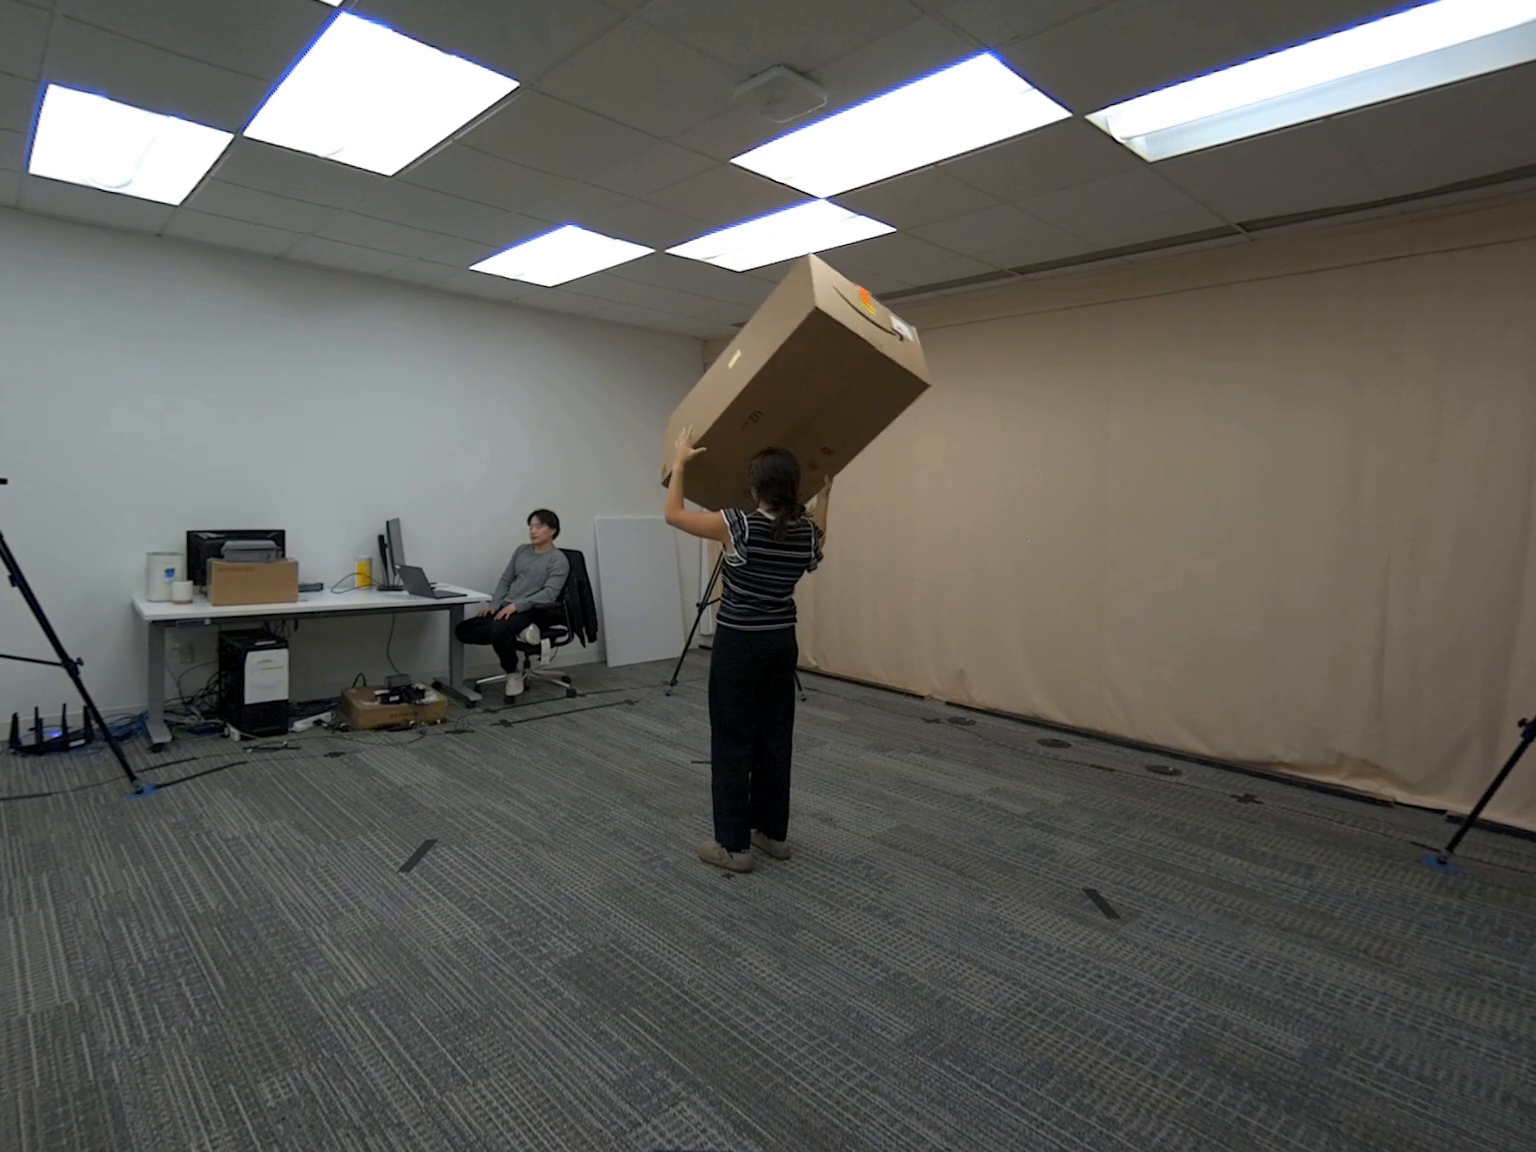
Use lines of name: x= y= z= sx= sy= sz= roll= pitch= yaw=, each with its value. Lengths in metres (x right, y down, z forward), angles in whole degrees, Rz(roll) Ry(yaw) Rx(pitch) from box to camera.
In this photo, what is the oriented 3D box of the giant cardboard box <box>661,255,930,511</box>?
giant cardboard box: x=0.060 y=-0.693 z=3.470 sx=0.563 sy=0.436 sz=1.028 roll=27 pitch=-50 yaw=-27
